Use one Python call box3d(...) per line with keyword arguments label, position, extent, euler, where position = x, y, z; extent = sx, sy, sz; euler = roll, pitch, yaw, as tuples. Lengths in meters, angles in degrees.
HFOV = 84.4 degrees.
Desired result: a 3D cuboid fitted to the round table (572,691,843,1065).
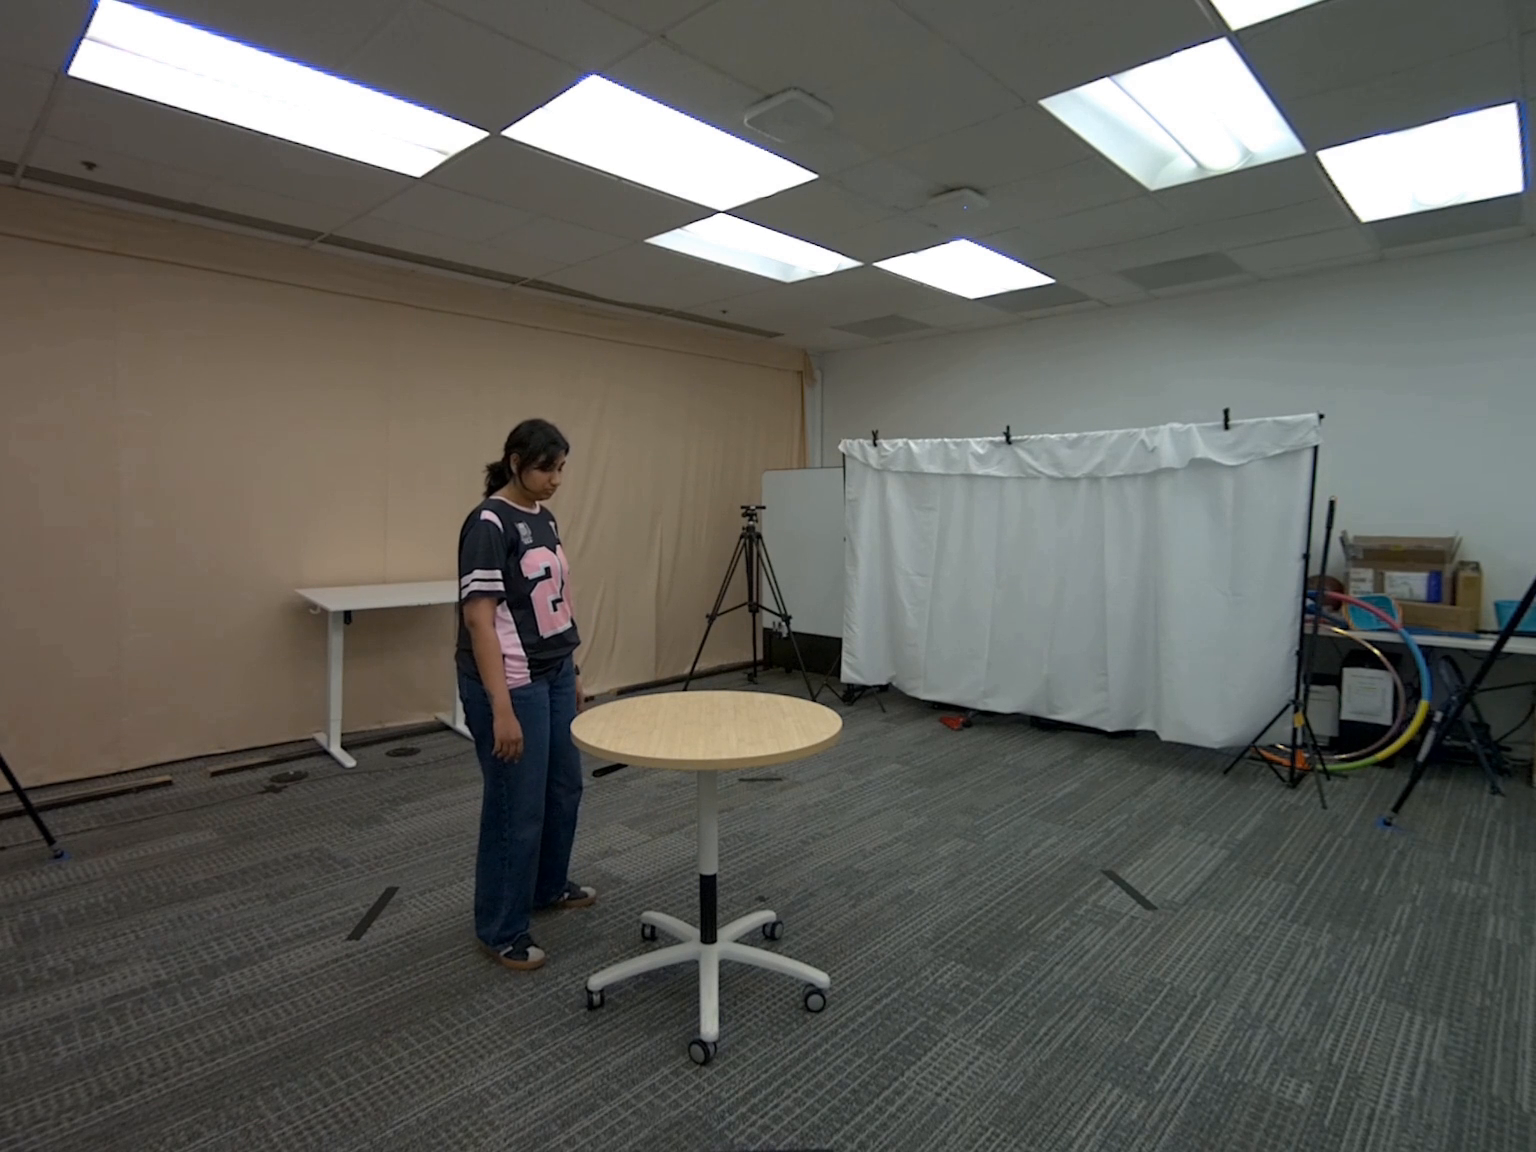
box3d(label="round table", position=(-0.166, 0.807, 2.407), extent=(0.763, 0.792, 0.766), euler=(-1, 3, -2))
